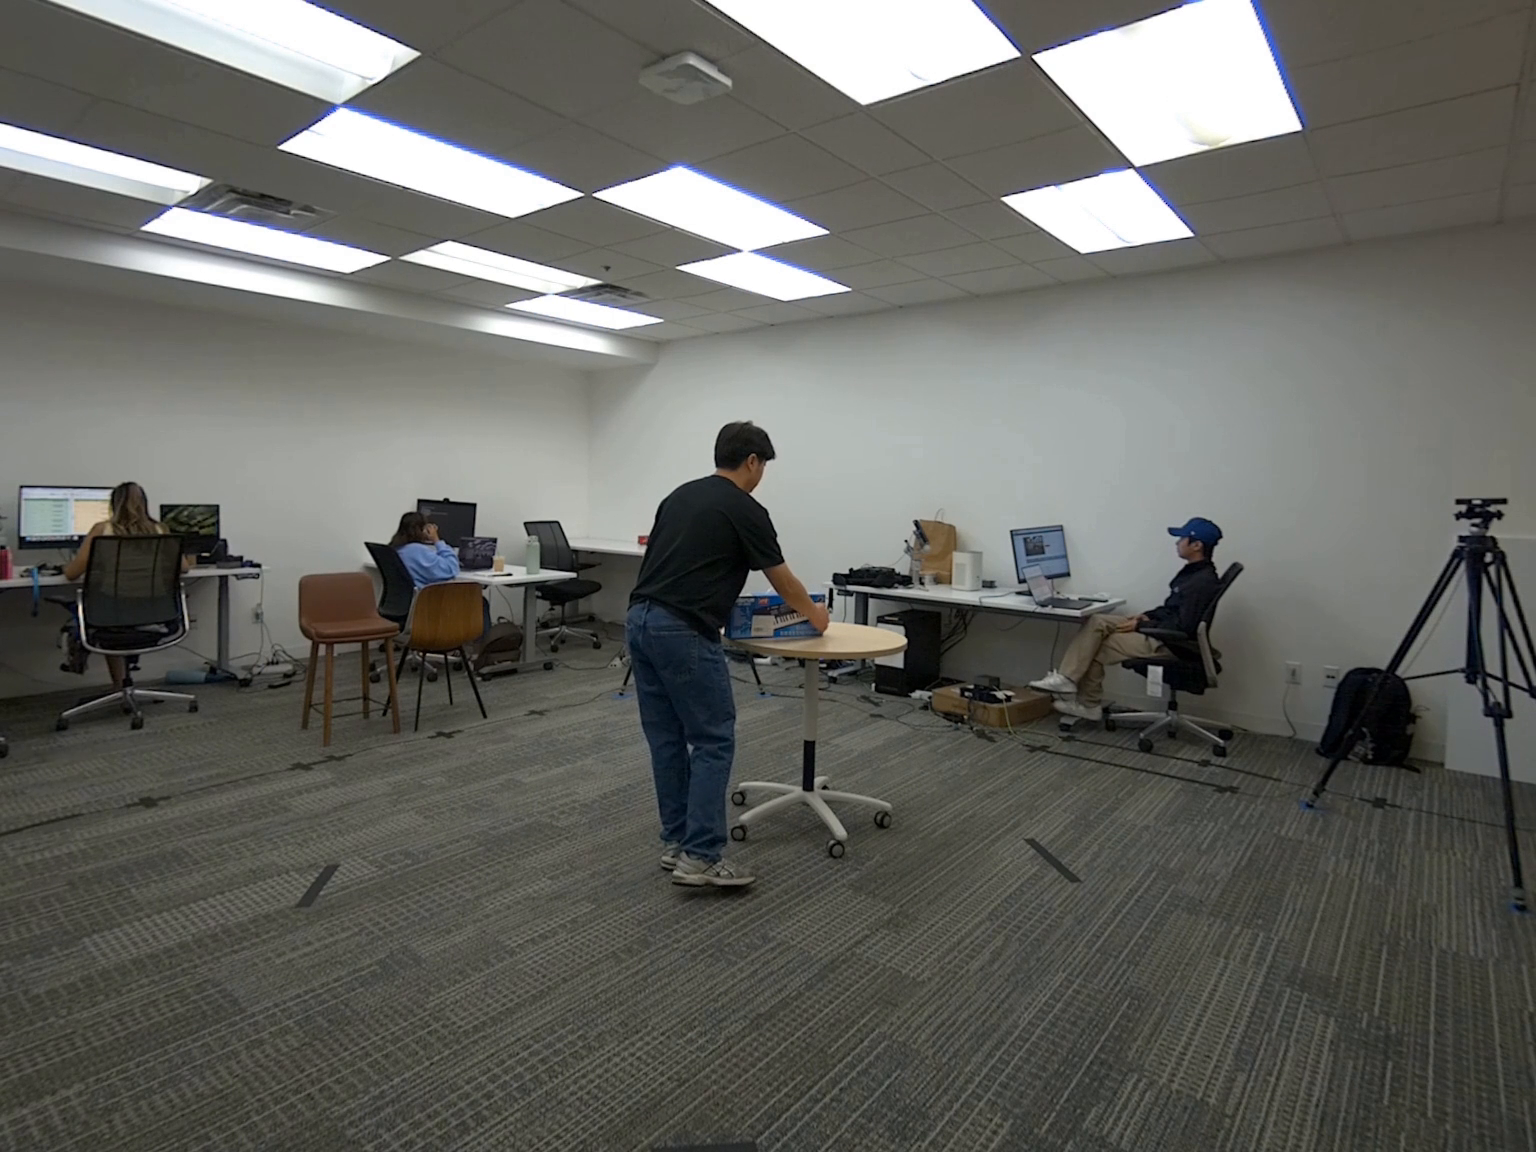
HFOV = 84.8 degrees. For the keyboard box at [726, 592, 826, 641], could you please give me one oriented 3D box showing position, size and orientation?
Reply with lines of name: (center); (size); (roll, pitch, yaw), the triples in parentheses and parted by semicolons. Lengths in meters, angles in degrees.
keyboard box: (0.025, 0.161, 3.445); (0.426, 0.175, 0.061); (-1, 6, -24)
